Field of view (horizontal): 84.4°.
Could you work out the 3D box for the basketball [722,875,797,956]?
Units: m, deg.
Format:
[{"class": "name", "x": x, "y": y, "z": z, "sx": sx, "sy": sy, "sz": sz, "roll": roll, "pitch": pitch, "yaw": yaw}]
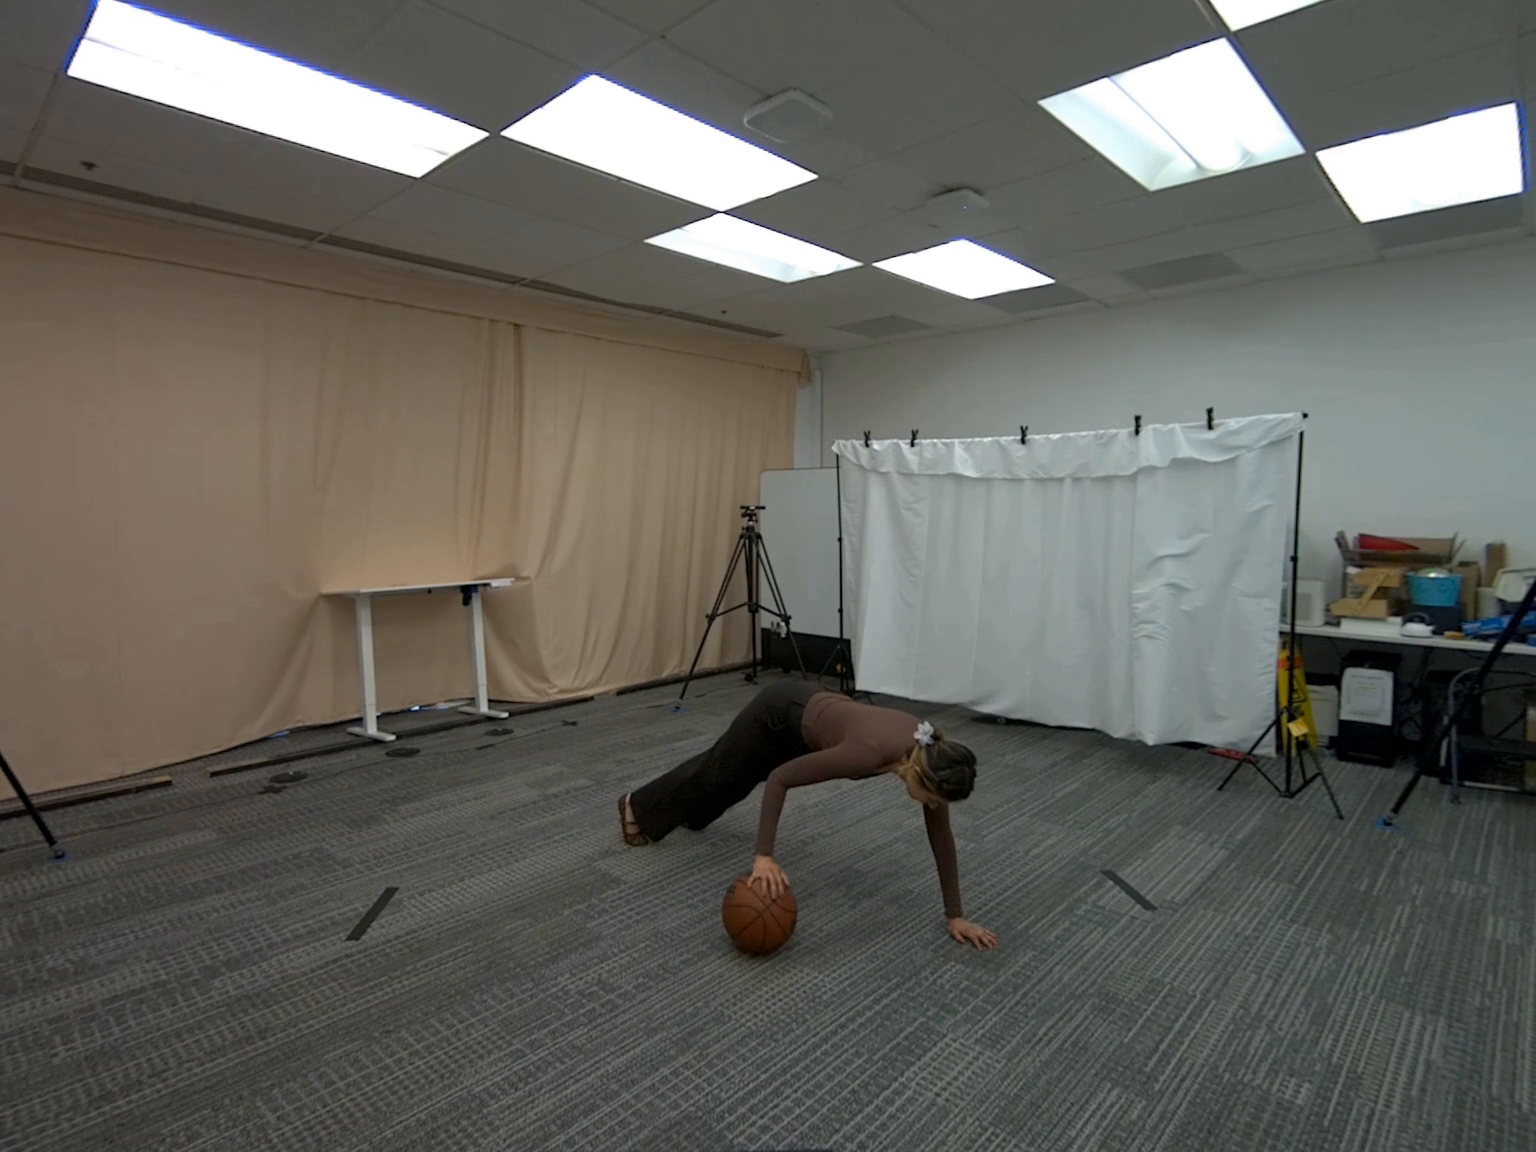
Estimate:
[{"class": "basketball", "x": -0.025, "y": 1.047, "z": 2.647, "sx": 0.236, "sy": 0.235, "sz": 0.237, "roll": 0, "pitch": 4, "yaw": -2}]
